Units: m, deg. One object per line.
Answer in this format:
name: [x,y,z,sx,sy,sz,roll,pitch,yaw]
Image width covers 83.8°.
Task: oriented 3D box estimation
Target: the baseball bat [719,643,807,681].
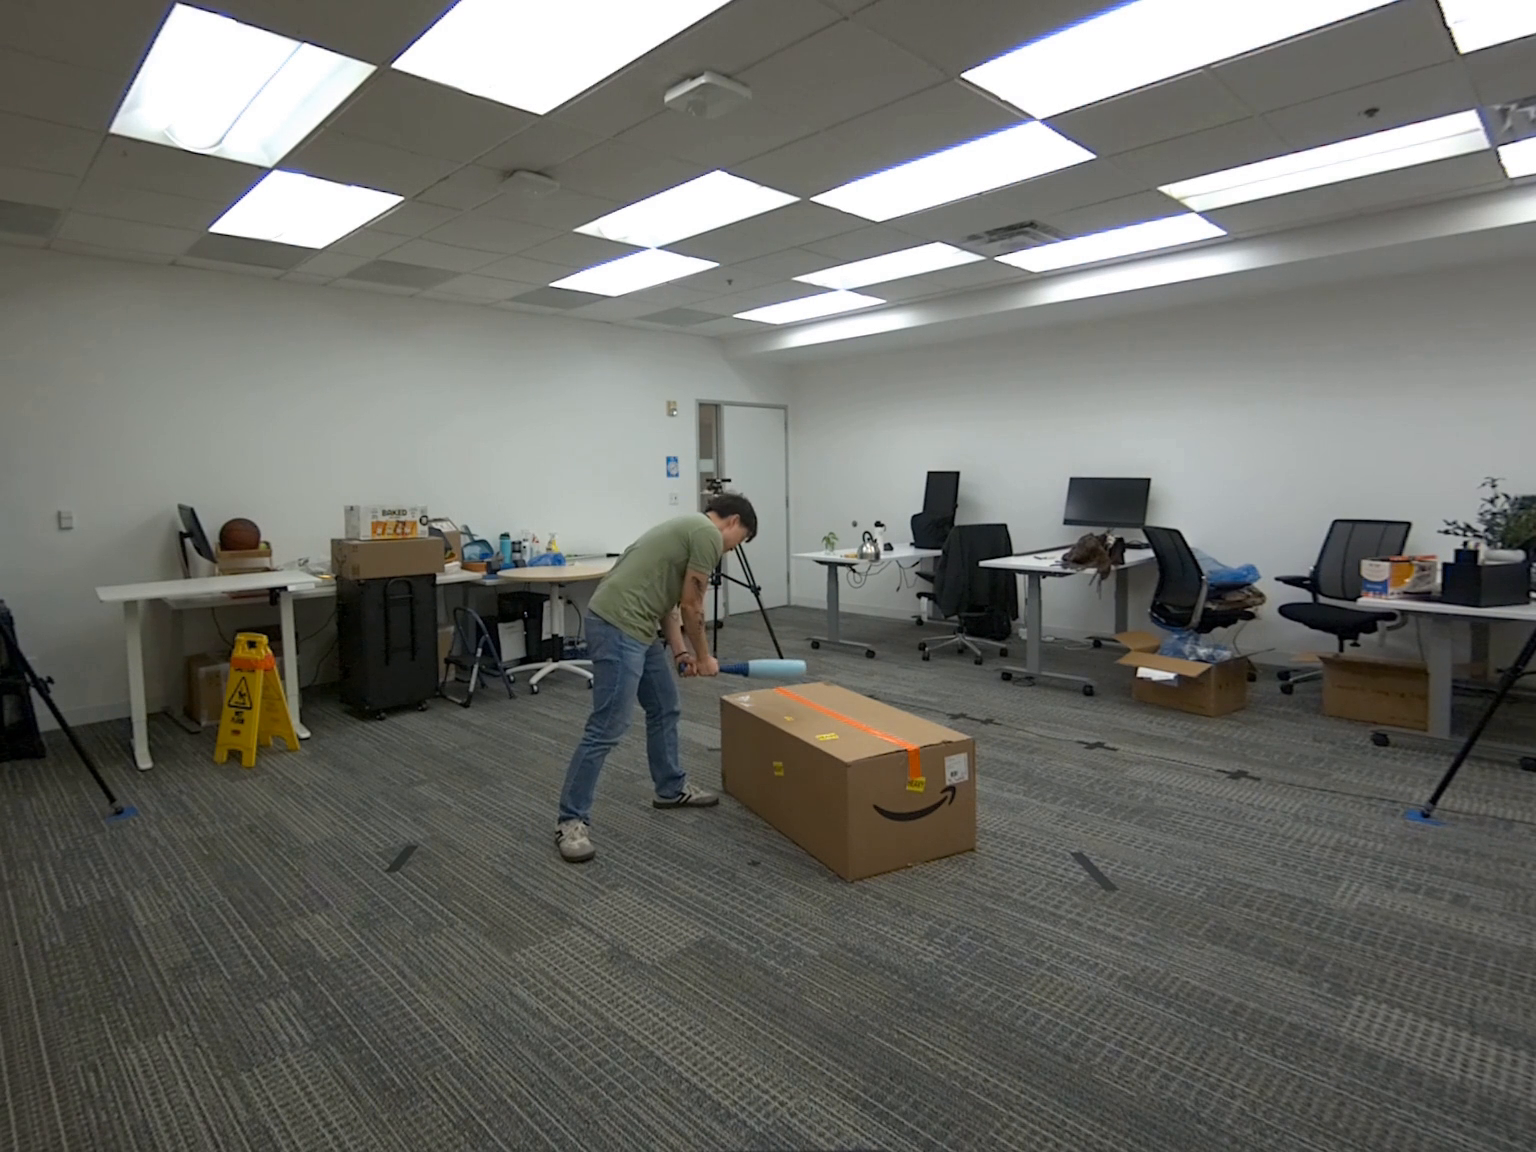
baseball bat: [-0.100,0.371,3.580,0.540,0.089,0.090,1,4,-5]
